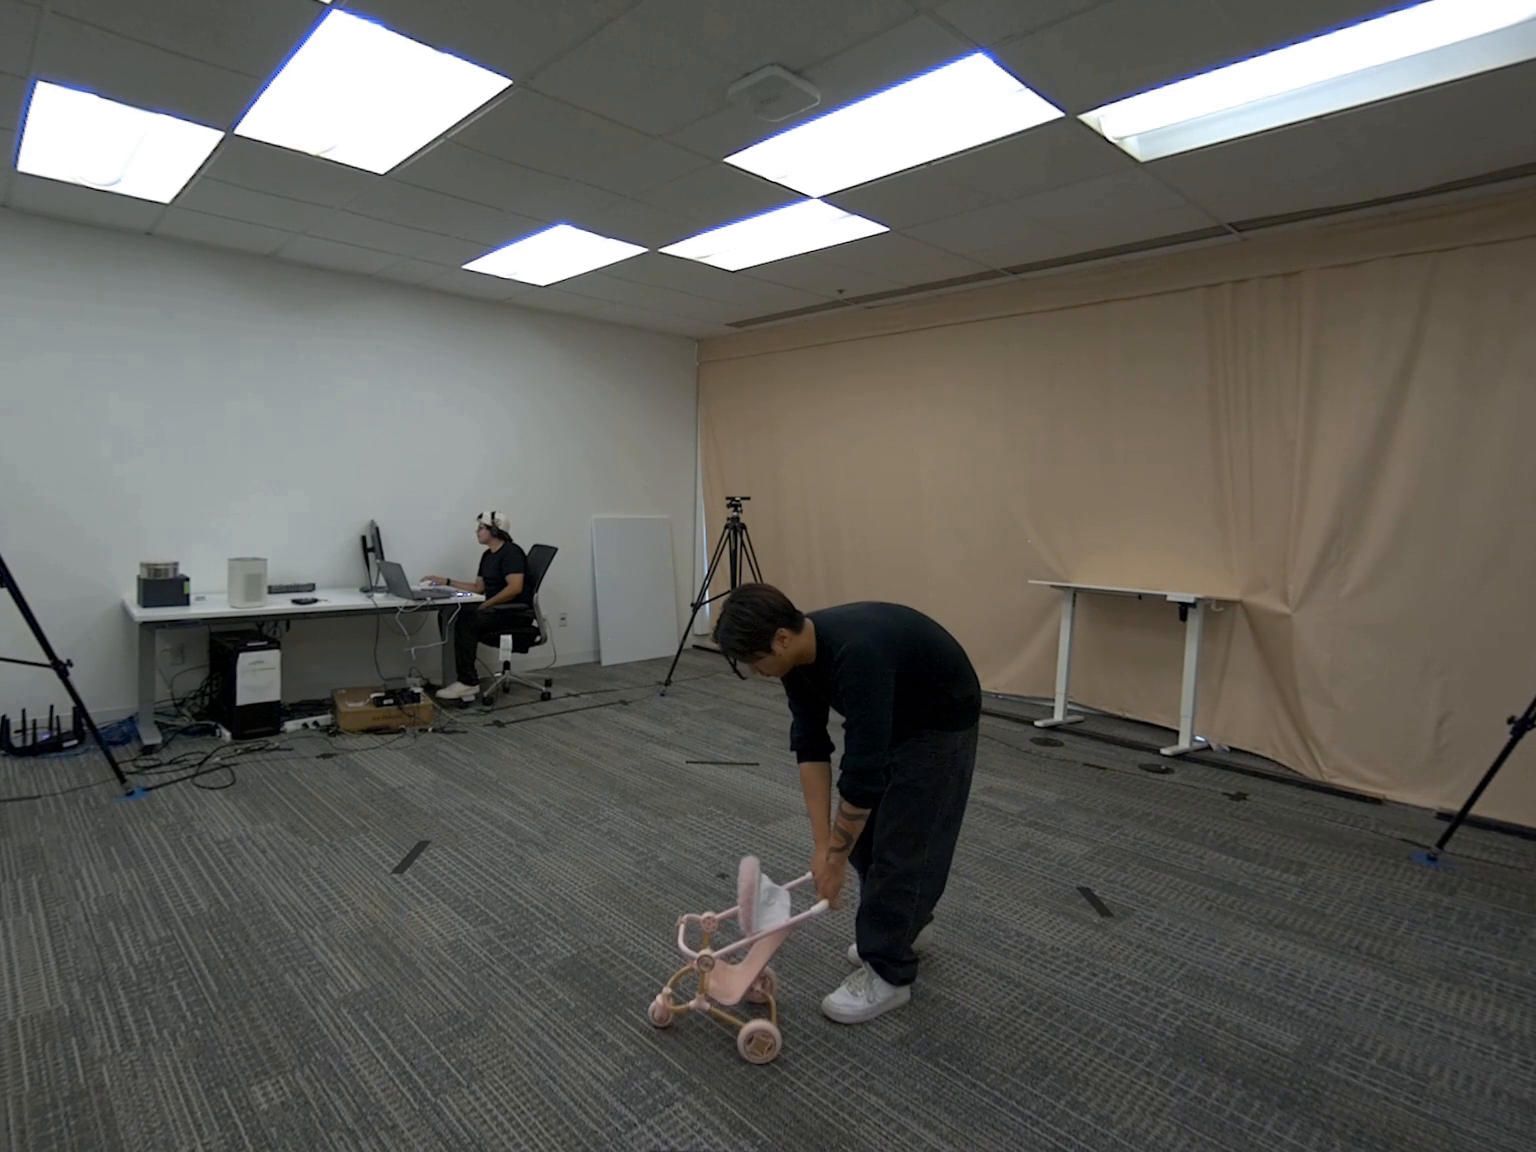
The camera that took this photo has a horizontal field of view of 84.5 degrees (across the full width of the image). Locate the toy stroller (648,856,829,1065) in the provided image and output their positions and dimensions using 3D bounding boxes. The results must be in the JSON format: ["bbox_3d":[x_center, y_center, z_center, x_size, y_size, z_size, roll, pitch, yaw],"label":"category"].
[{"bbox_3d":[-0.083,0.973,2.195,0.343,0.533,0.281,20,6,3],"label":"toy stroller"}]
